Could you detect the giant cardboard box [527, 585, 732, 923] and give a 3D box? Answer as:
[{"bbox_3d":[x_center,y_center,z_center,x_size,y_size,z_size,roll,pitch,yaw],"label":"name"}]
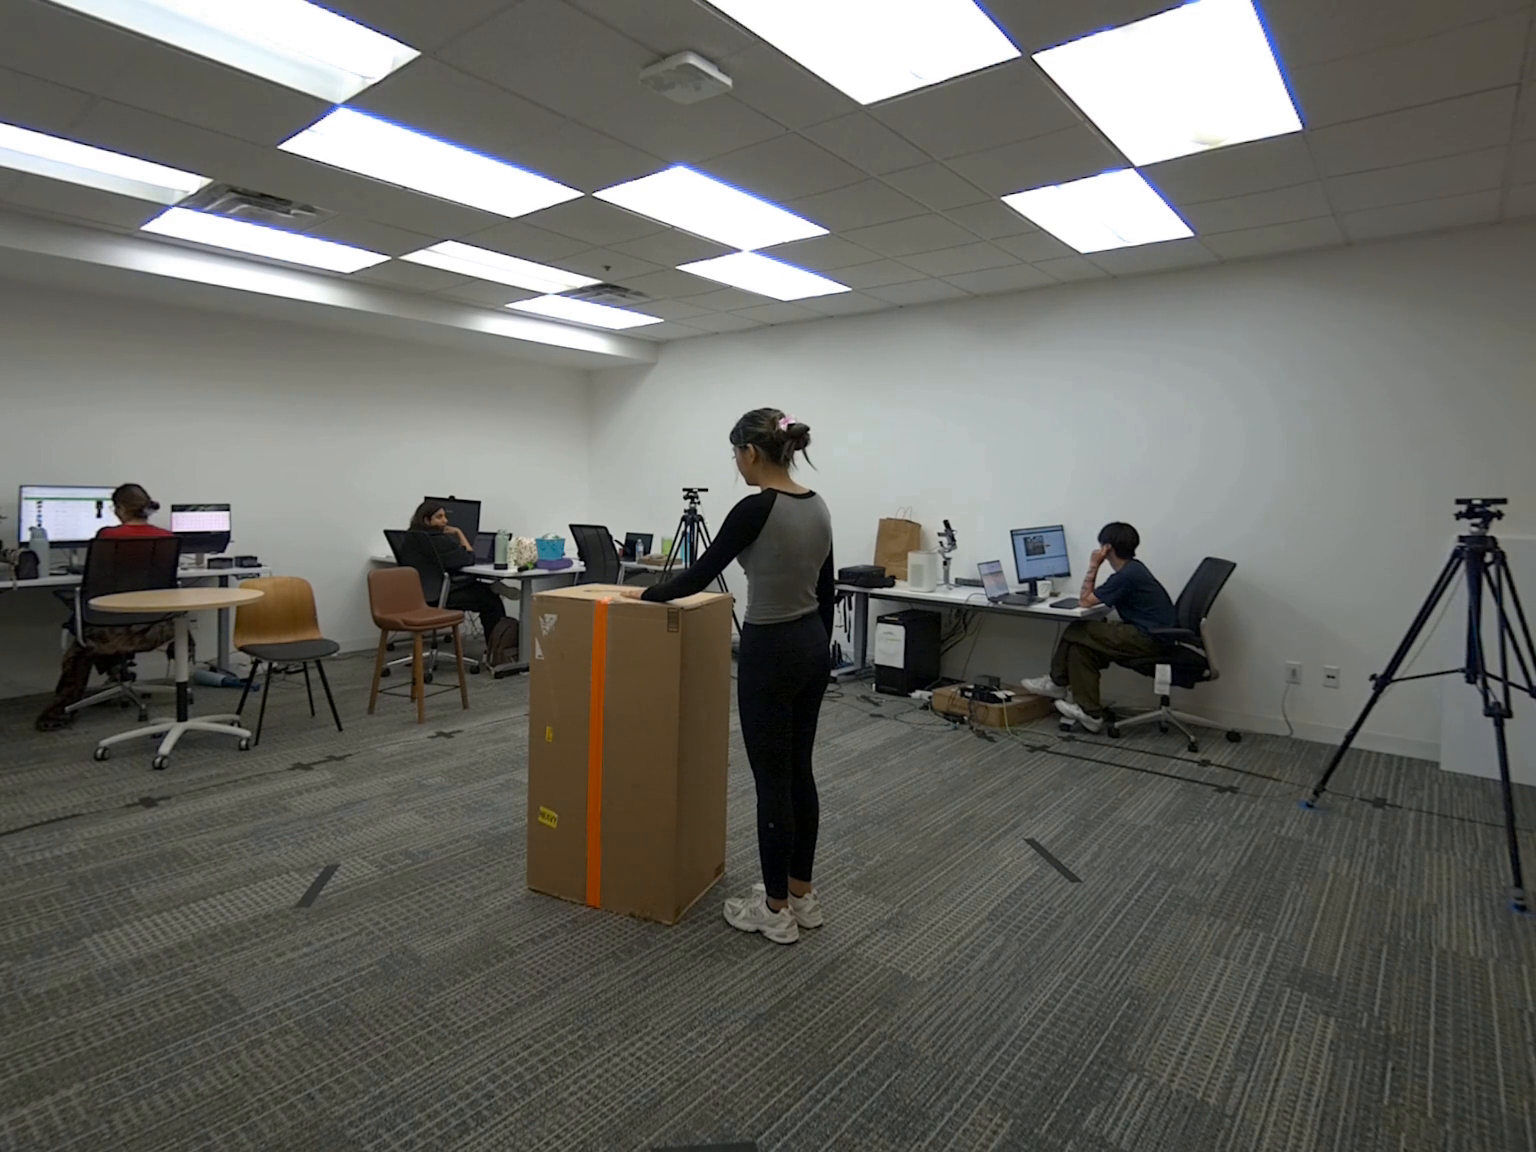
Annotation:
[{"bbox_3d":[-0.493,0.571,2.978,0.598,1.025,0.437,3,2,22],"label":"giant cardboard box"}]
